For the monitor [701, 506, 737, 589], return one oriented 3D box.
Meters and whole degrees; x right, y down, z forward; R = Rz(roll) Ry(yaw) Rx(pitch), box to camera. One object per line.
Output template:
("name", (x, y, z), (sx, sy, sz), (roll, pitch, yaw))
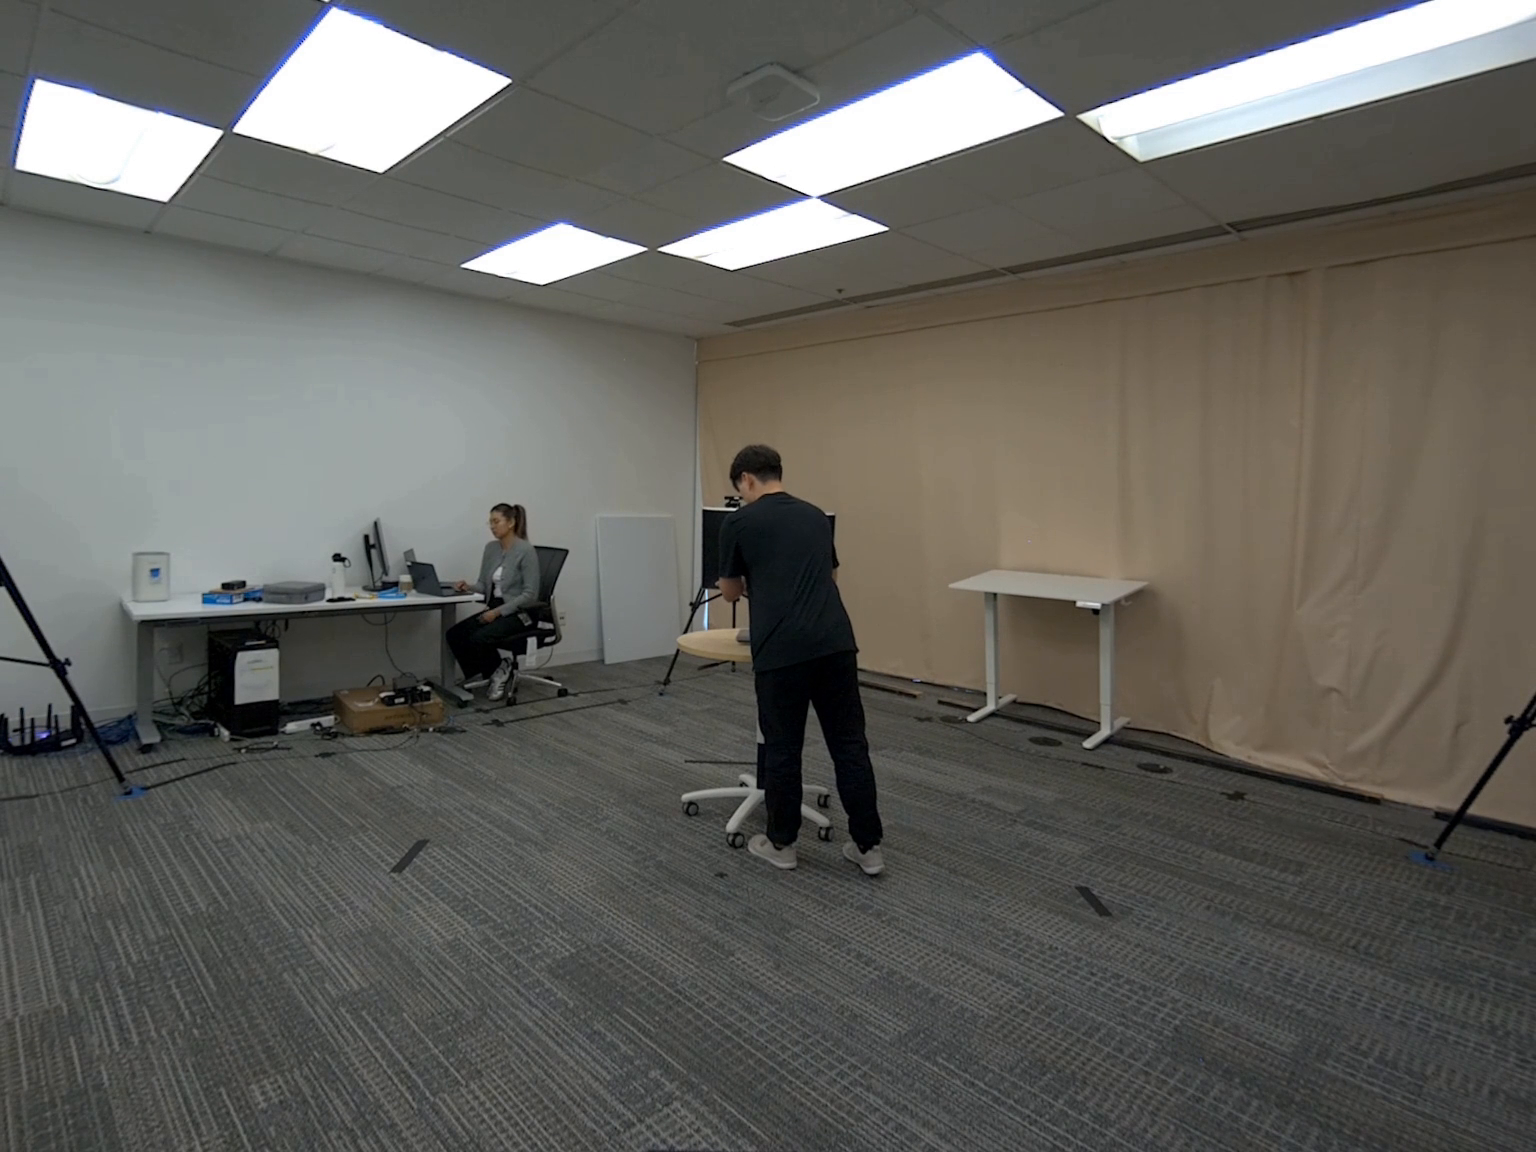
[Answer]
("monitor", (-0.013, 0.009, 3.529), (0.540, 0.520, 0.187), (2, 6, 2))
